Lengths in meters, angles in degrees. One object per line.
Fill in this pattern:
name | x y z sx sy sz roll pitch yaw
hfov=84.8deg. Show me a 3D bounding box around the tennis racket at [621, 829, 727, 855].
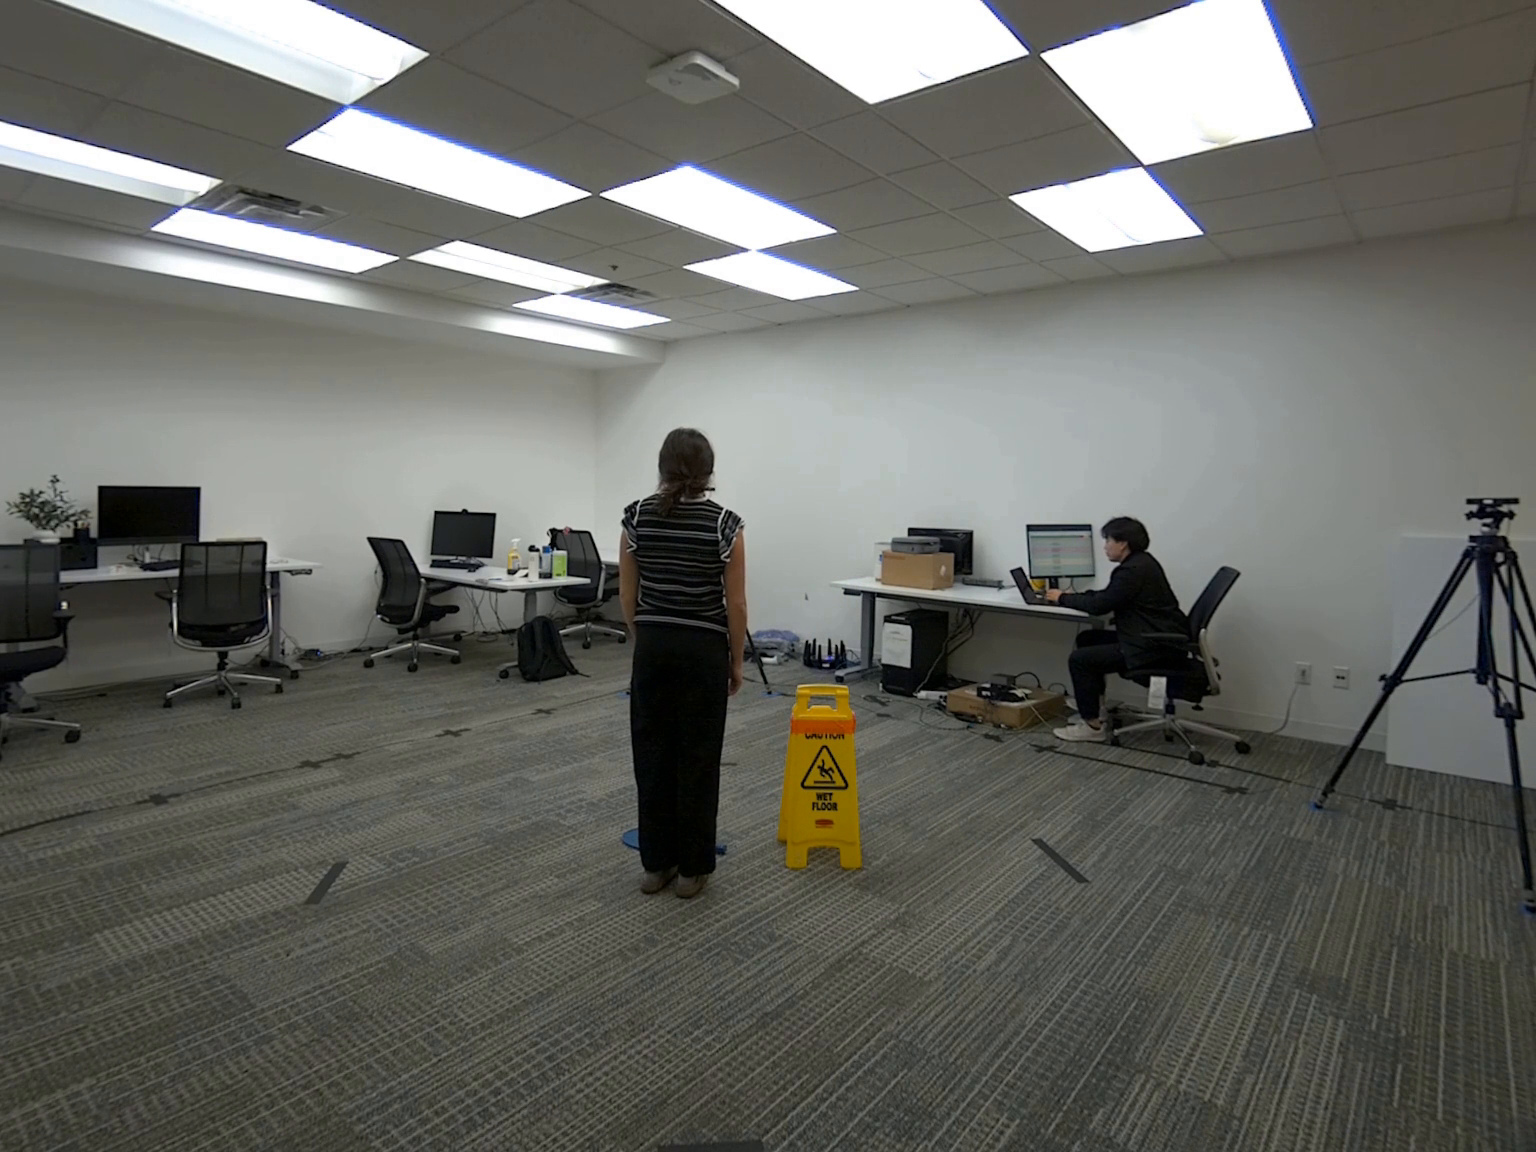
tennis racket | -0.373 1.020 3.315 0.442 0.031 0.210 1 5 20
